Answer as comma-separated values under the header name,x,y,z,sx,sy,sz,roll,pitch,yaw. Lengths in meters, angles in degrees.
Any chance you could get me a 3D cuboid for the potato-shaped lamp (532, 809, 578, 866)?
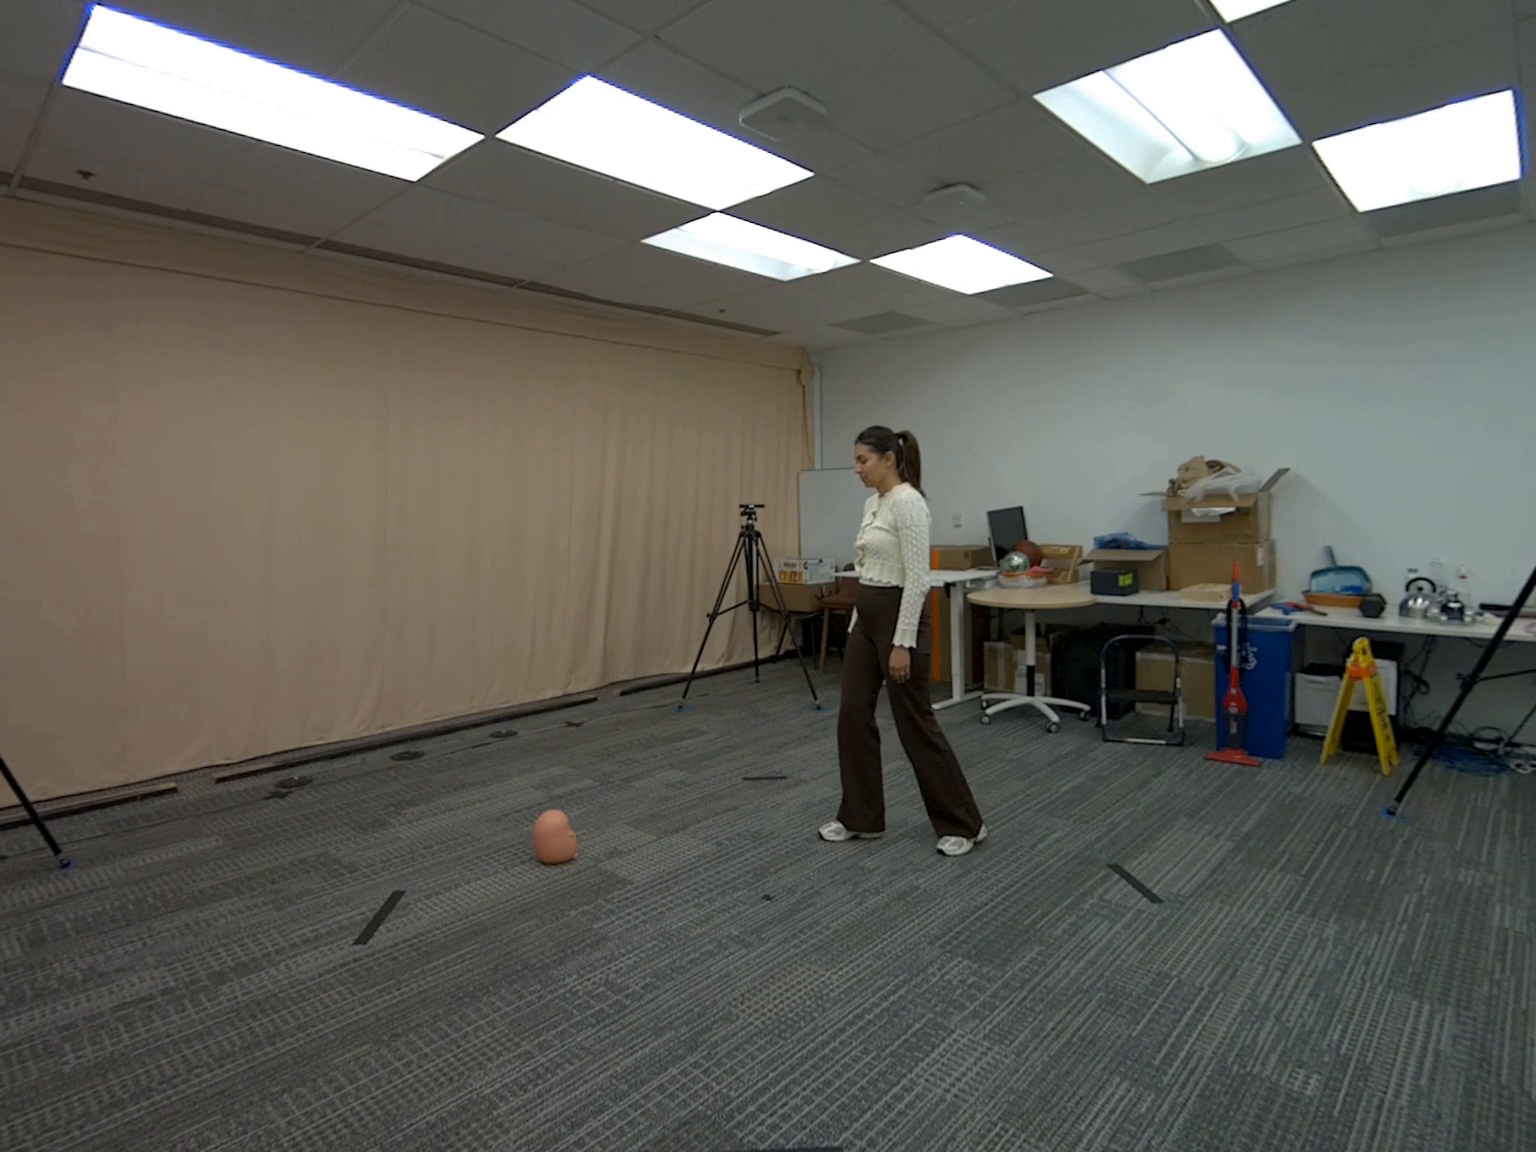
name,x,y,z,sx,sy,sz,roll,pitch,yaw
potato-shaped lamp,-0.845,1.028,3.344,0.167,0.197,0.170,-6,8,-33
